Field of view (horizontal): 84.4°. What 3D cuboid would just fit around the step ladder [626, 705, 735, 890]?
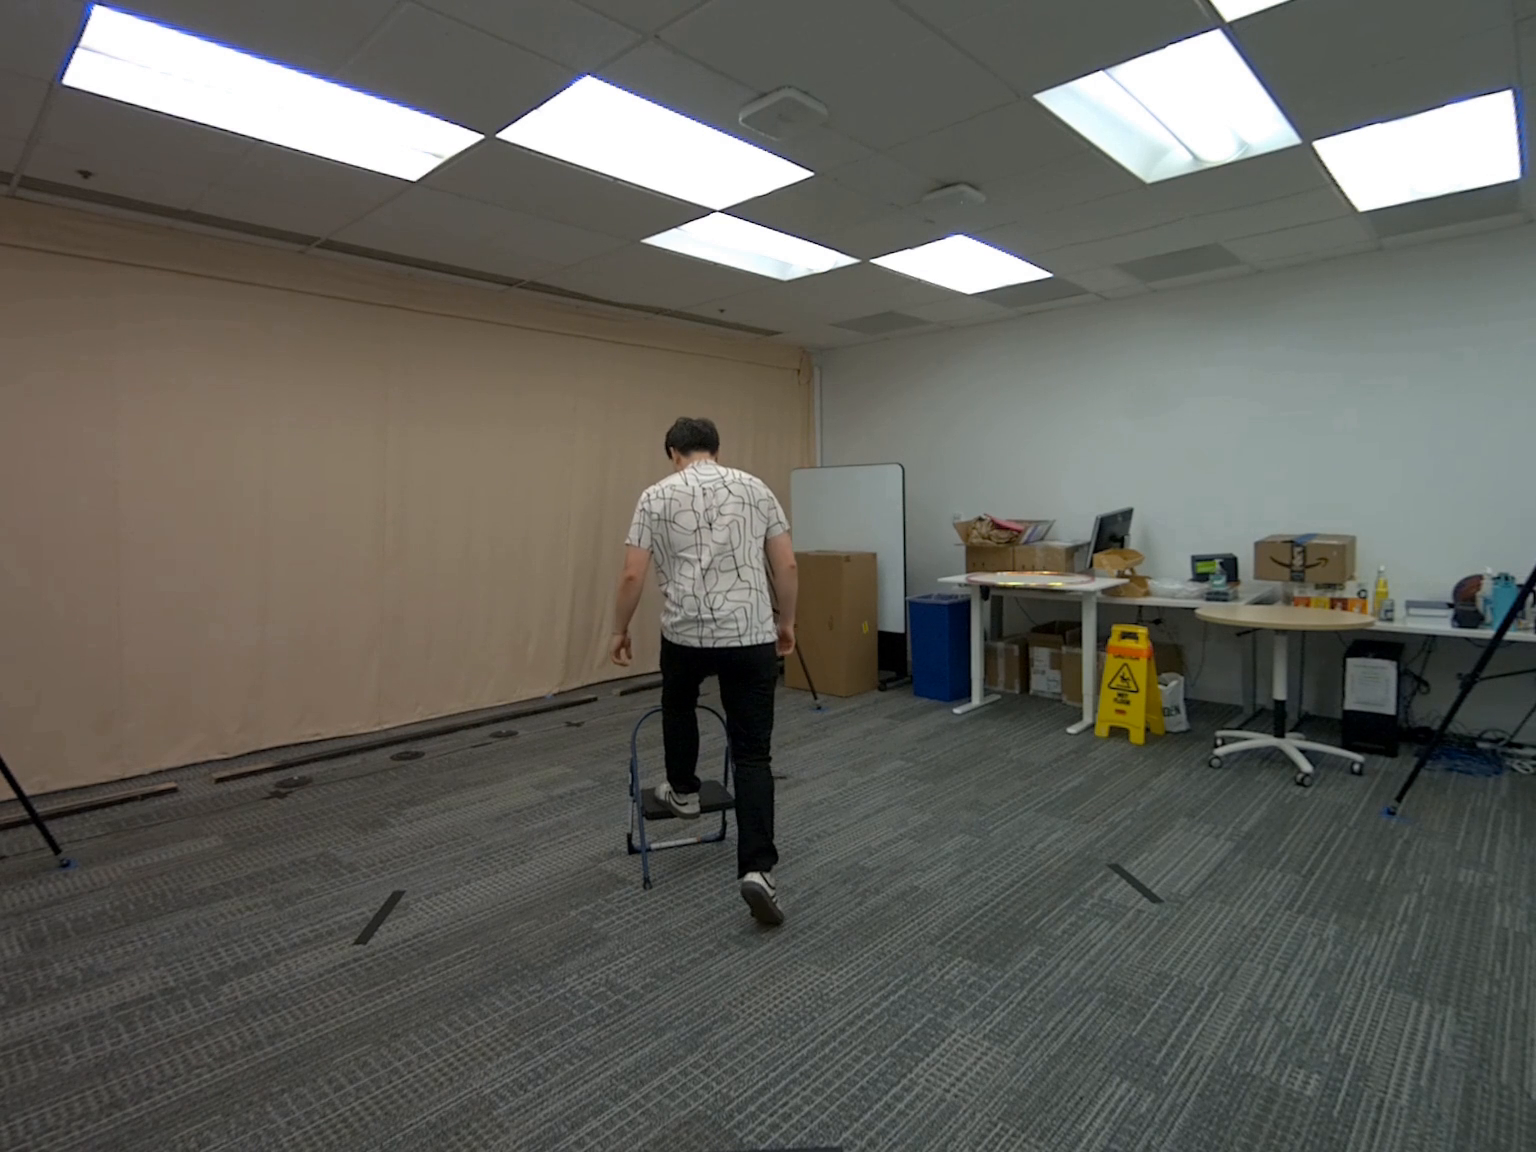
[{"bbox_3d":[-0.321,0.818,3.285,0.422,0.605,0.357,-2,3,-20],"label":"step ladder"}]
